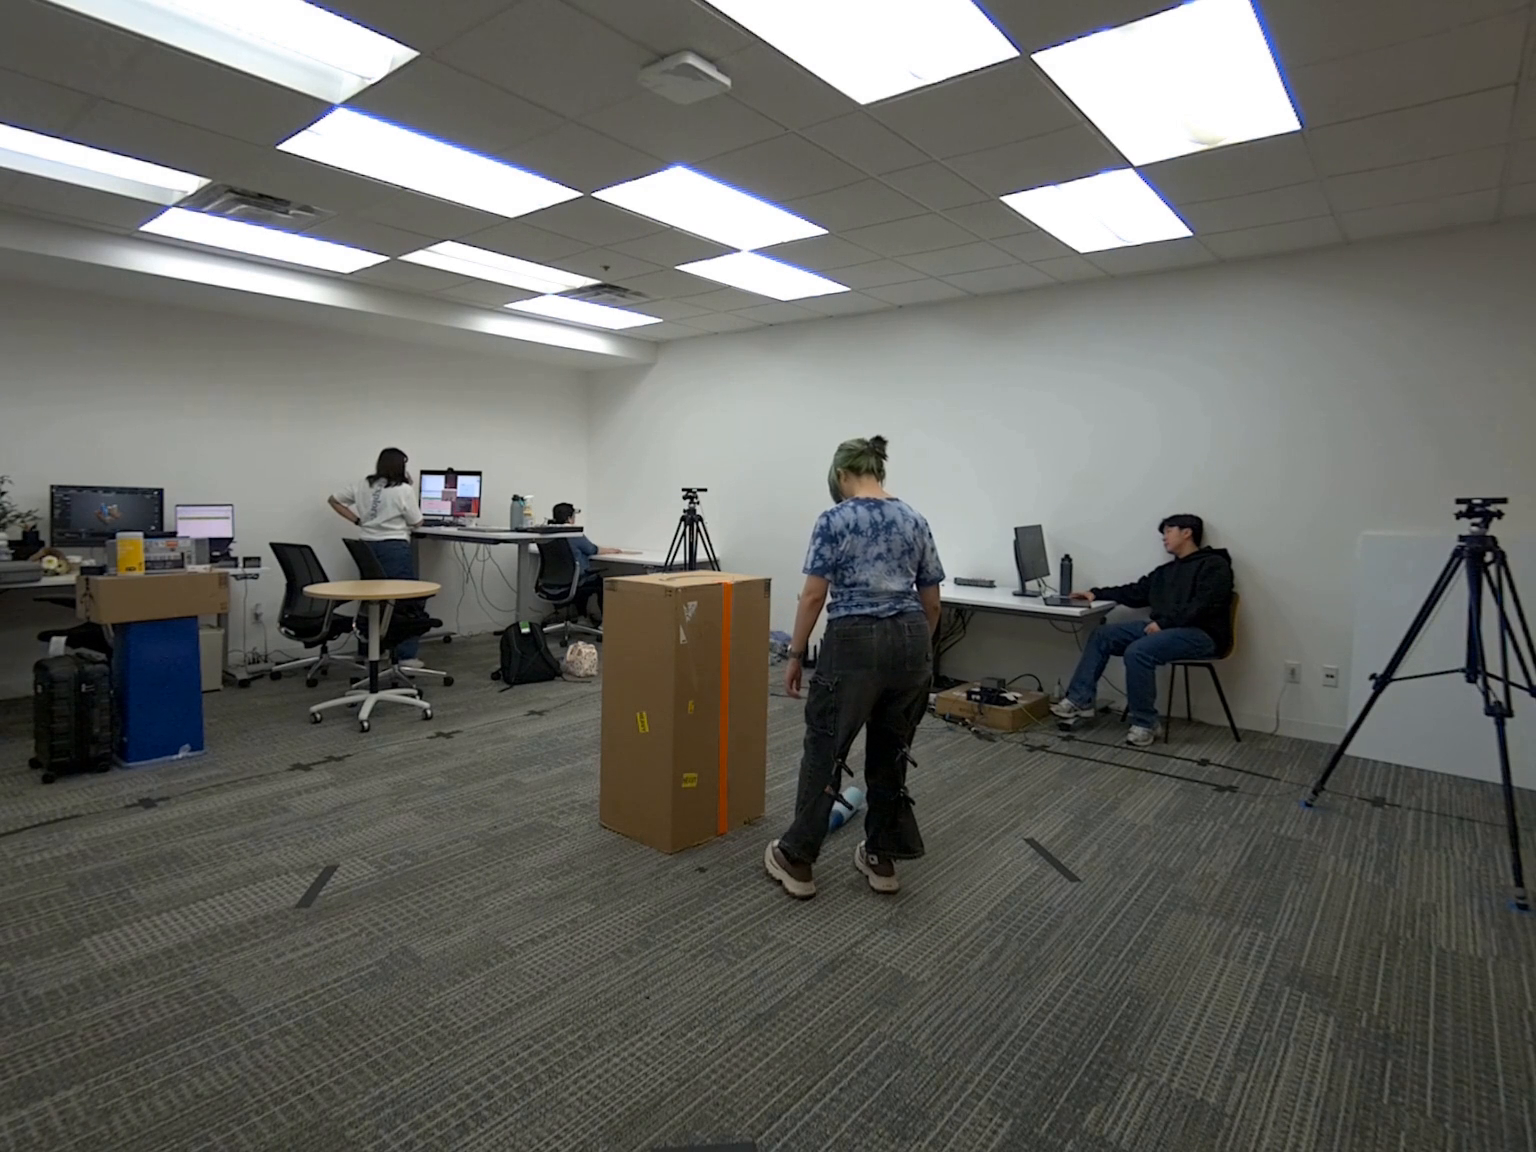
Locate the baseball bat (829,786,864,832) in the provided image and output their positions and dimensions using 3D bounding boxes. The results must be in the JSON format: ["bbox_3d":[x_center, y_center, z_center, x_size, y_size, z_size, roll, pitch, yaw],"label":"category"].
[{"bbox_3d":[0.270,1.021,3.547,0.091,0.088,0.534,2,9,22],"label":"baseball bat"}]
